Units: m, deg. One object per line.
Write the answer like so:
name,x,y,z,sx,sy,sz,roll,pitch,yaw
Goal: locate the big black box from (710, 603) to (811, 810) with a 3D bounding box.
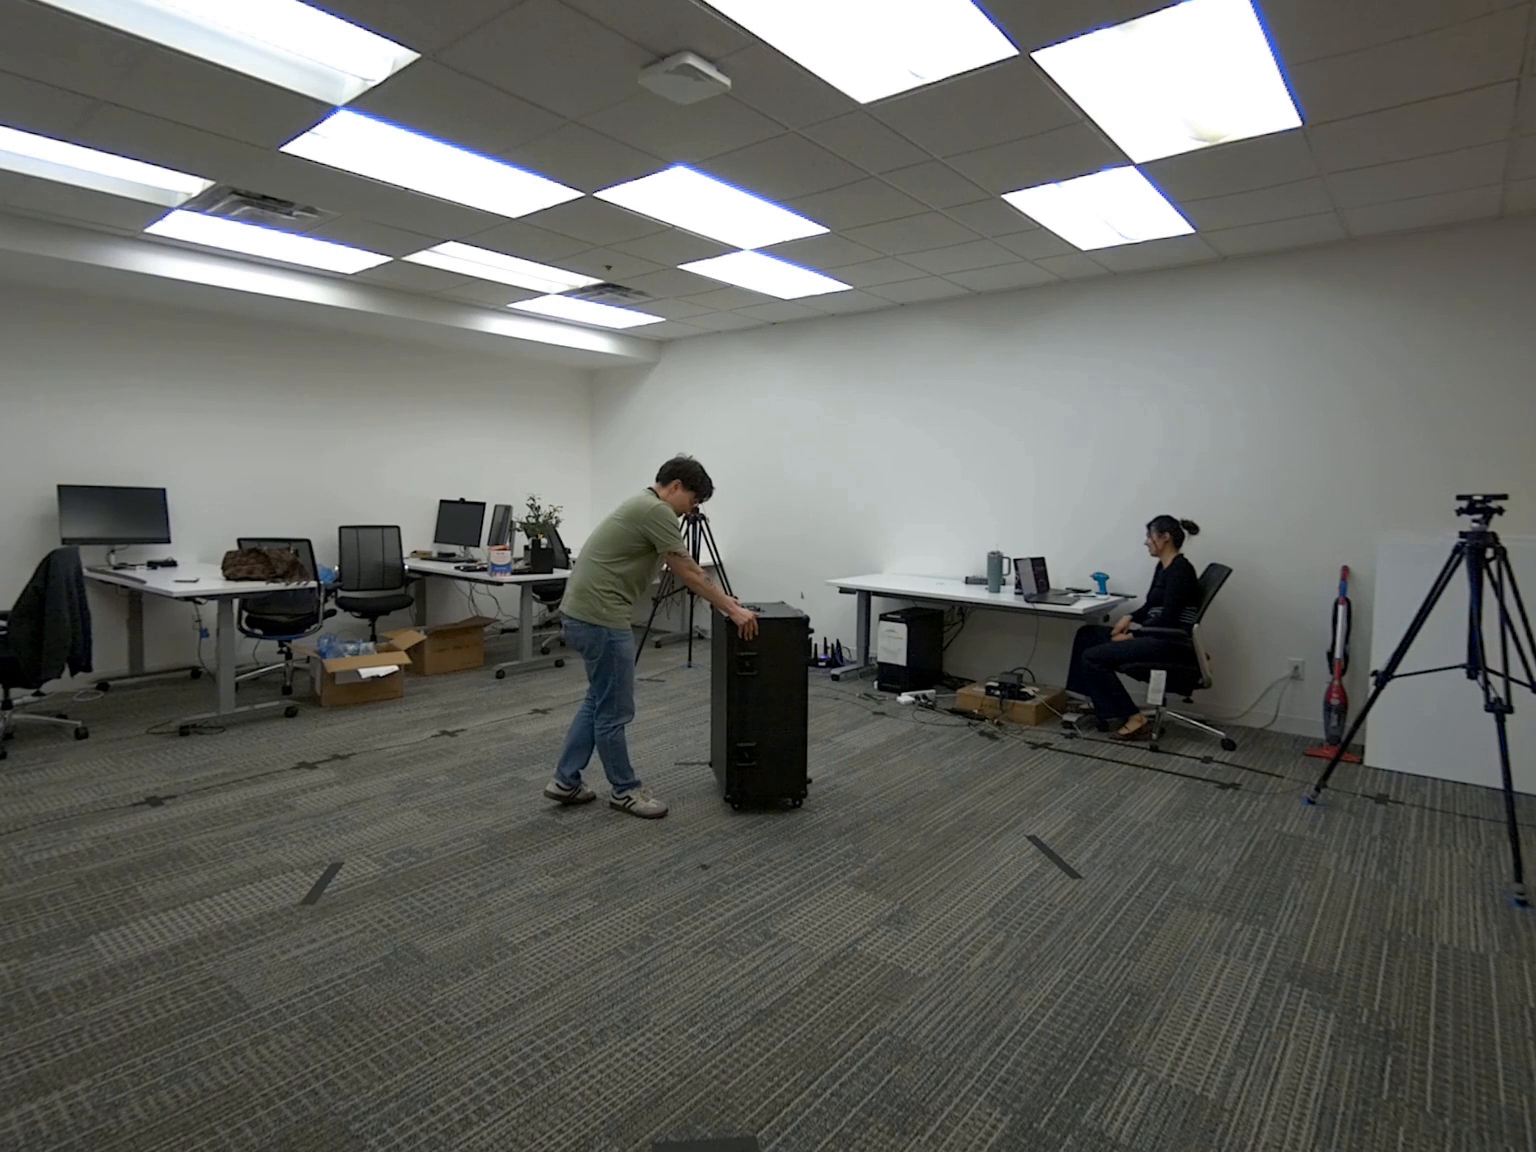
big black box,-0.050,0.578,3.835,0.392,0.859,0.529,2,3,-11
